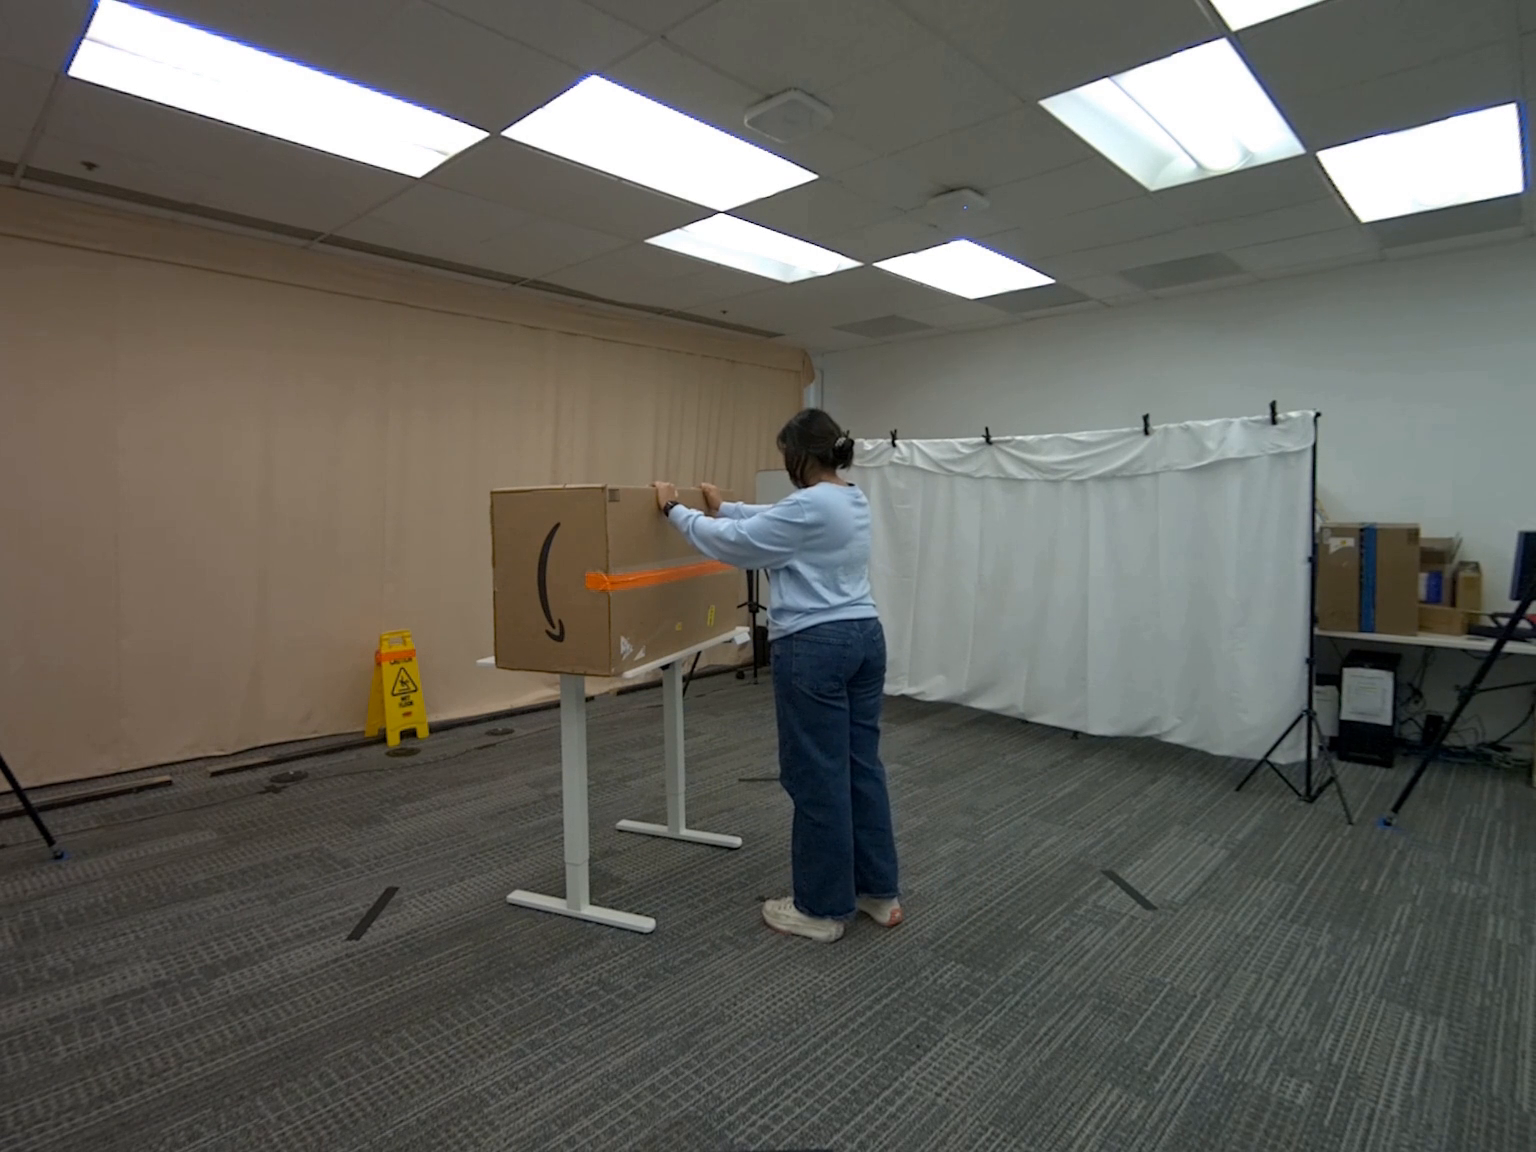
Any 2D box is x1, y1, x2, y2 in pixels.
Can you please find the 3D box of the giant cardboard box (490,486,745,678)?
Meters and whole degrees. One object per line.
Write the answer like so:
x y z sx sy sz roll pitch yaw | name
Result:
-0.500 -0.028 3.059 0.436 0.576 1.005 1 5 21 | giant cardboard box
